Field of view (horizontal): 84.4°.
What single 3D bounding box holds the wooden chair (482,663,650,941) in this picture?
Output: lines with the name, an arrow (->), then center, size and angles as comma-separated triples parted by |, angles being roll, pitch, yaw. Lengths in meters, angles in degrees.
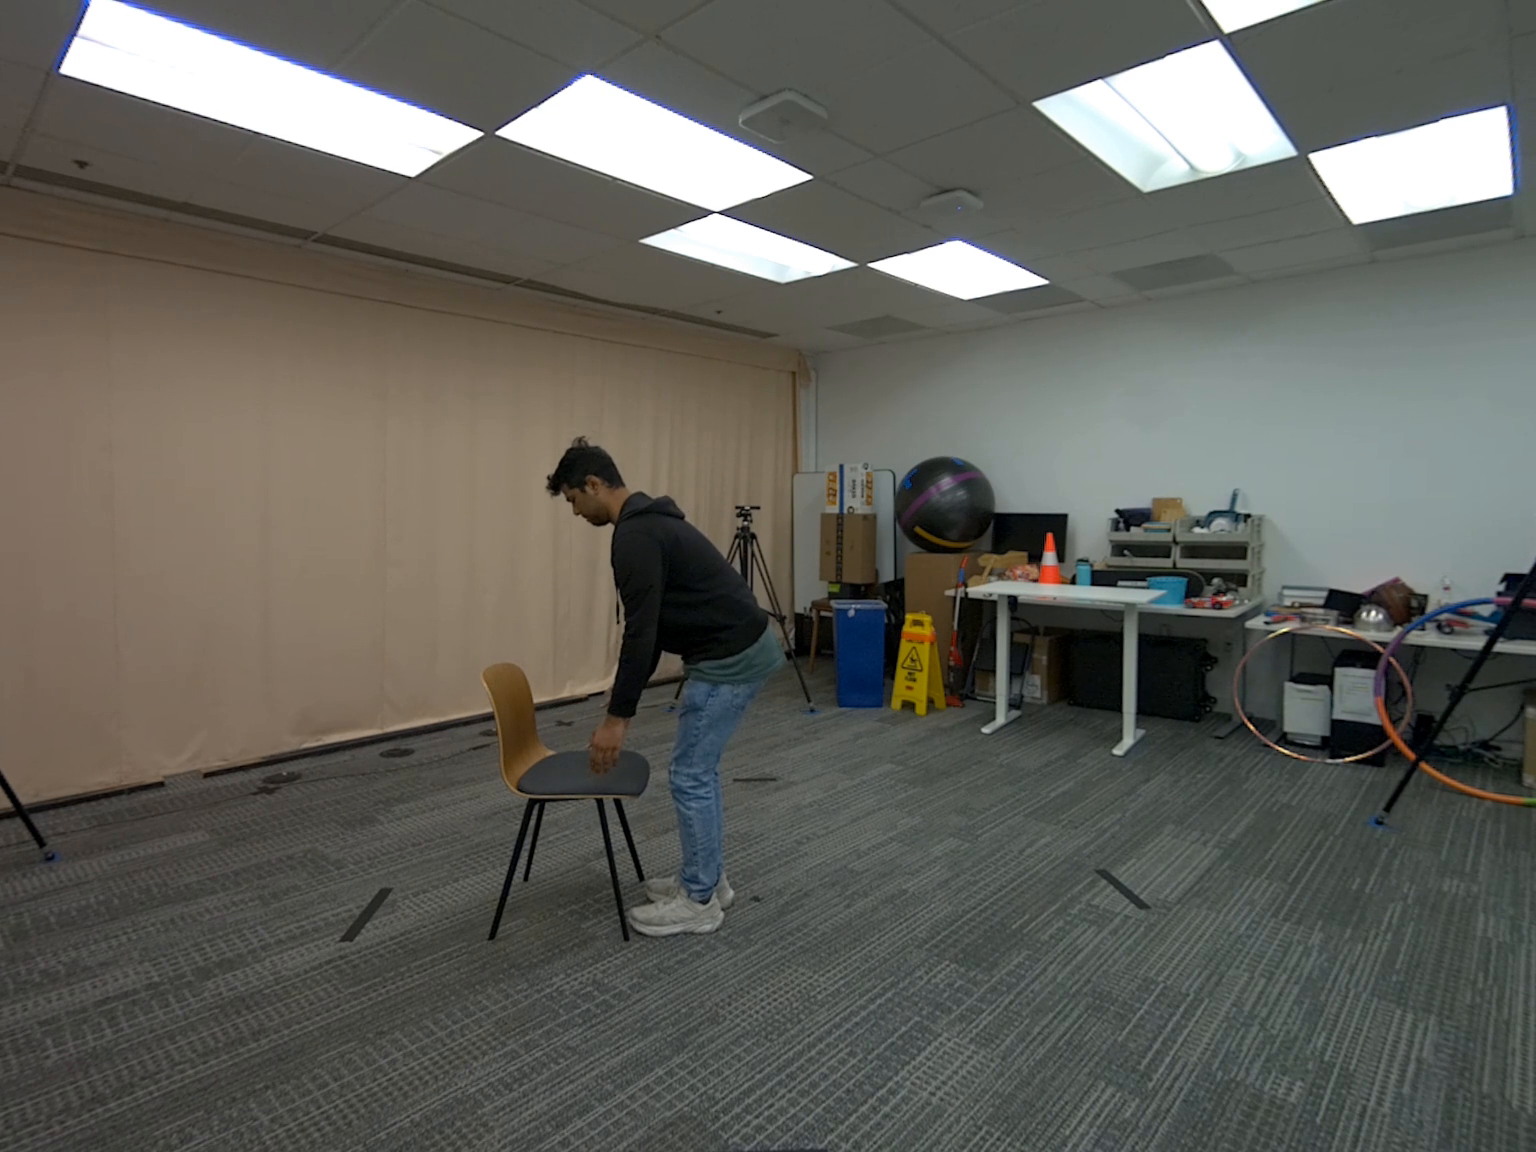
wooden chair -> -0.673, 0.729, 2.900 | 0.523, 0.876, 0.478 | -5, 2, 0
